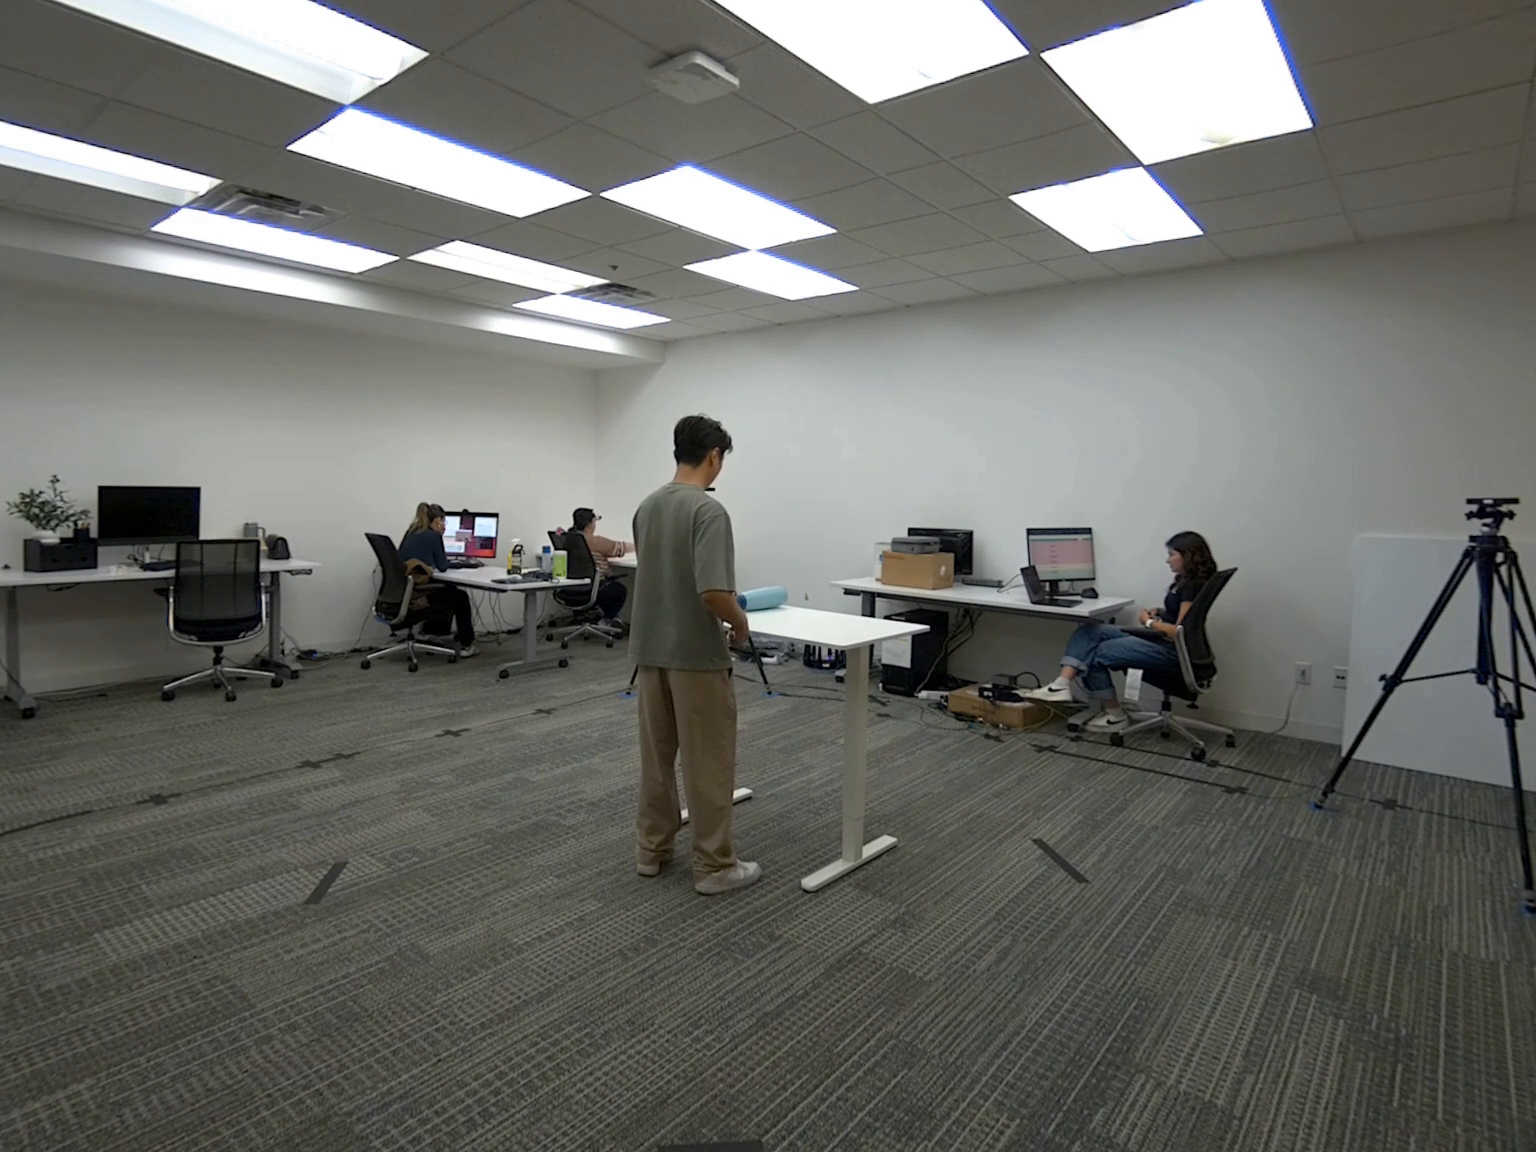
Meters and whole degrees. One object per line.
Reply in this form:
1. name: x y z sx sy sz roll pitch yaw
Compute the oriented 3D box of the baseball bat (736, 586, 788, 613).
1. baseball bat: -0.131 0.112 3.498 0.092 0.088 0.528 5 10 45
